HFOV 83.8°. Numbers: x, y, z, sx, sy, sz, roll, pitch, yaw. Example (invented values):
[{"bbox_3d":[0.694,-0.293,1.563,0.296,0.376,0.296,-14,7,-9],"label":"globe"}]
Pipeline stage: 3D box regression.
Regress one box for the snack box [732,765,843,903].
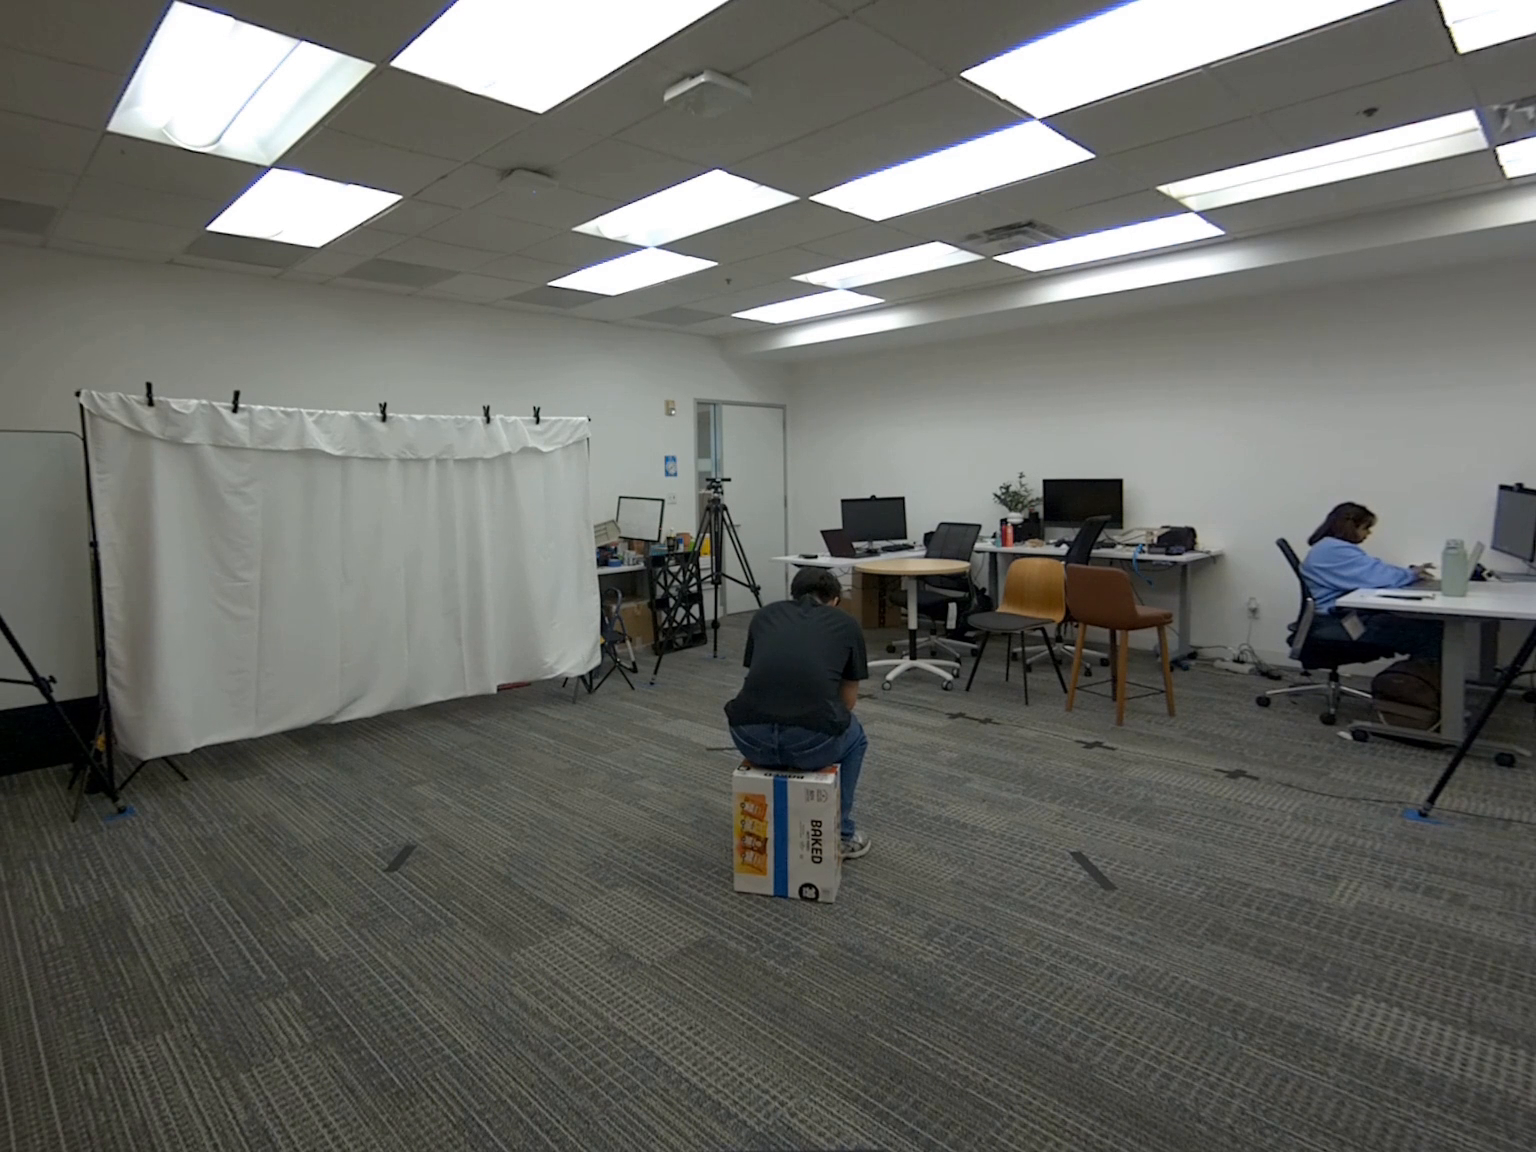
[{"bbox_3d":[0.069,0.861,2.927,0.345,0.404,0.203,0,4,15],"label":"snack box"}]
